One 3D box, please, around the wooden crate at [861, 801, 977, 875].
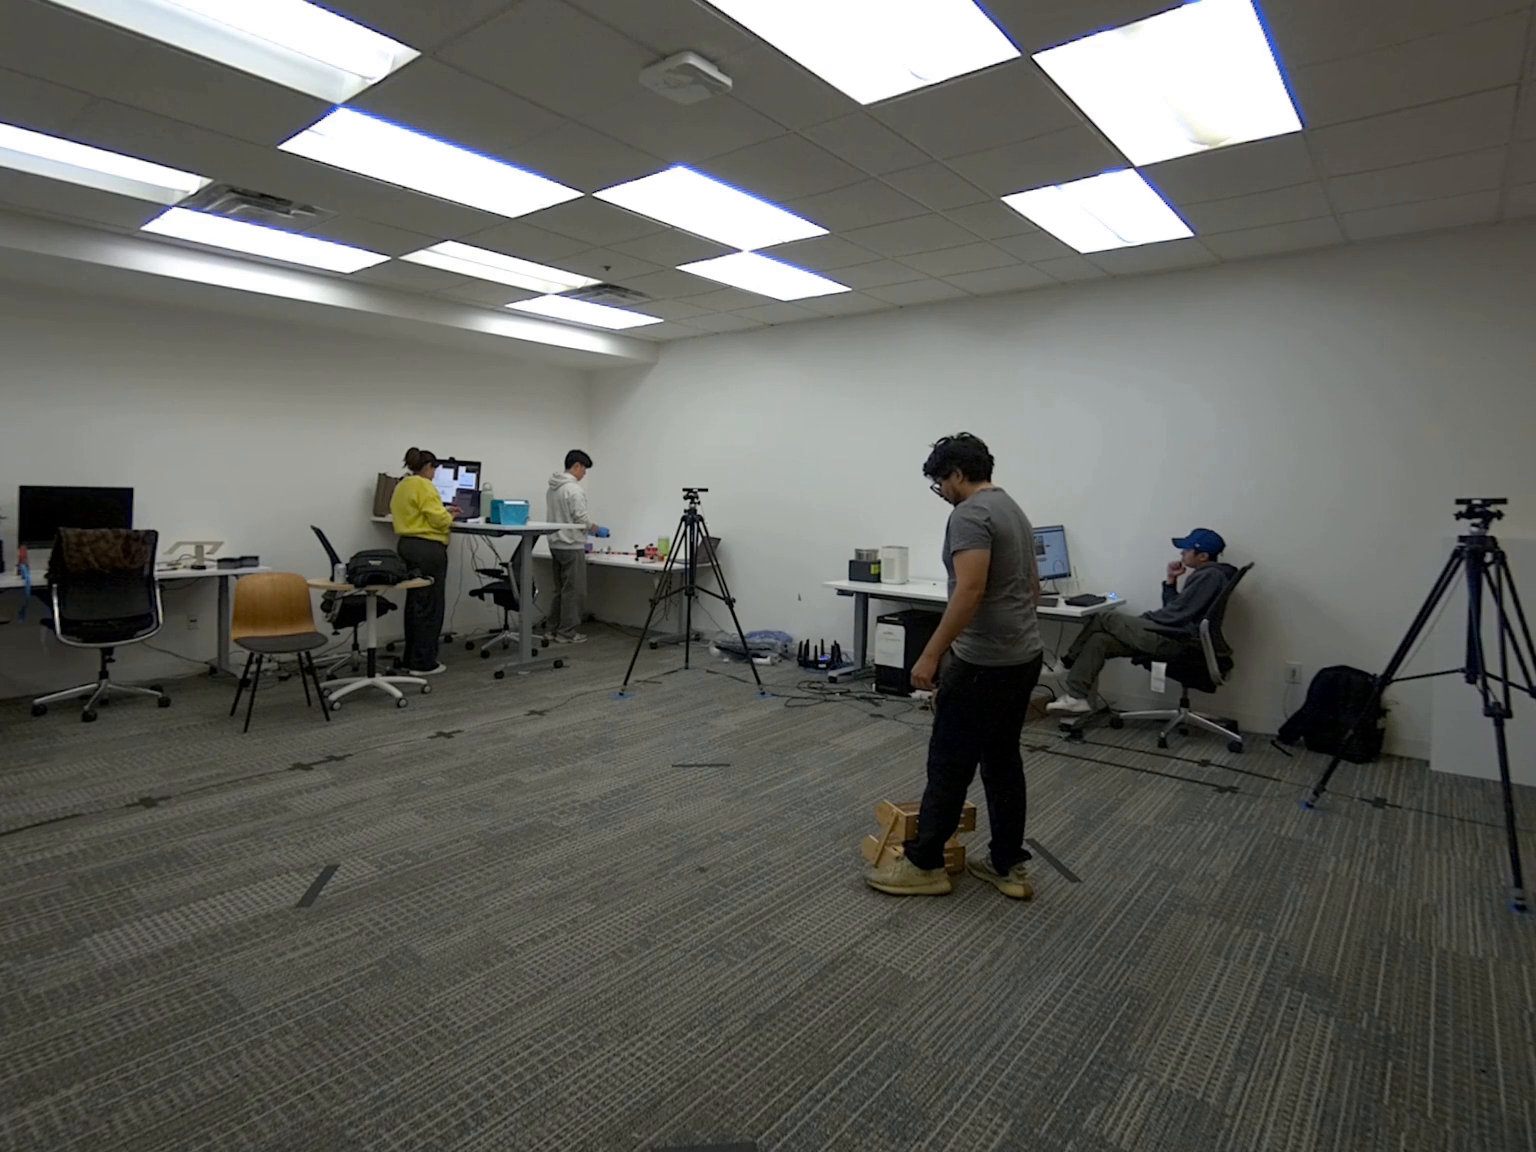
[{"bbox_3d":[0.551,0.943,3.192,0.317,0.272,0.310,0,6,-22],"label":"wooden crate"}]
